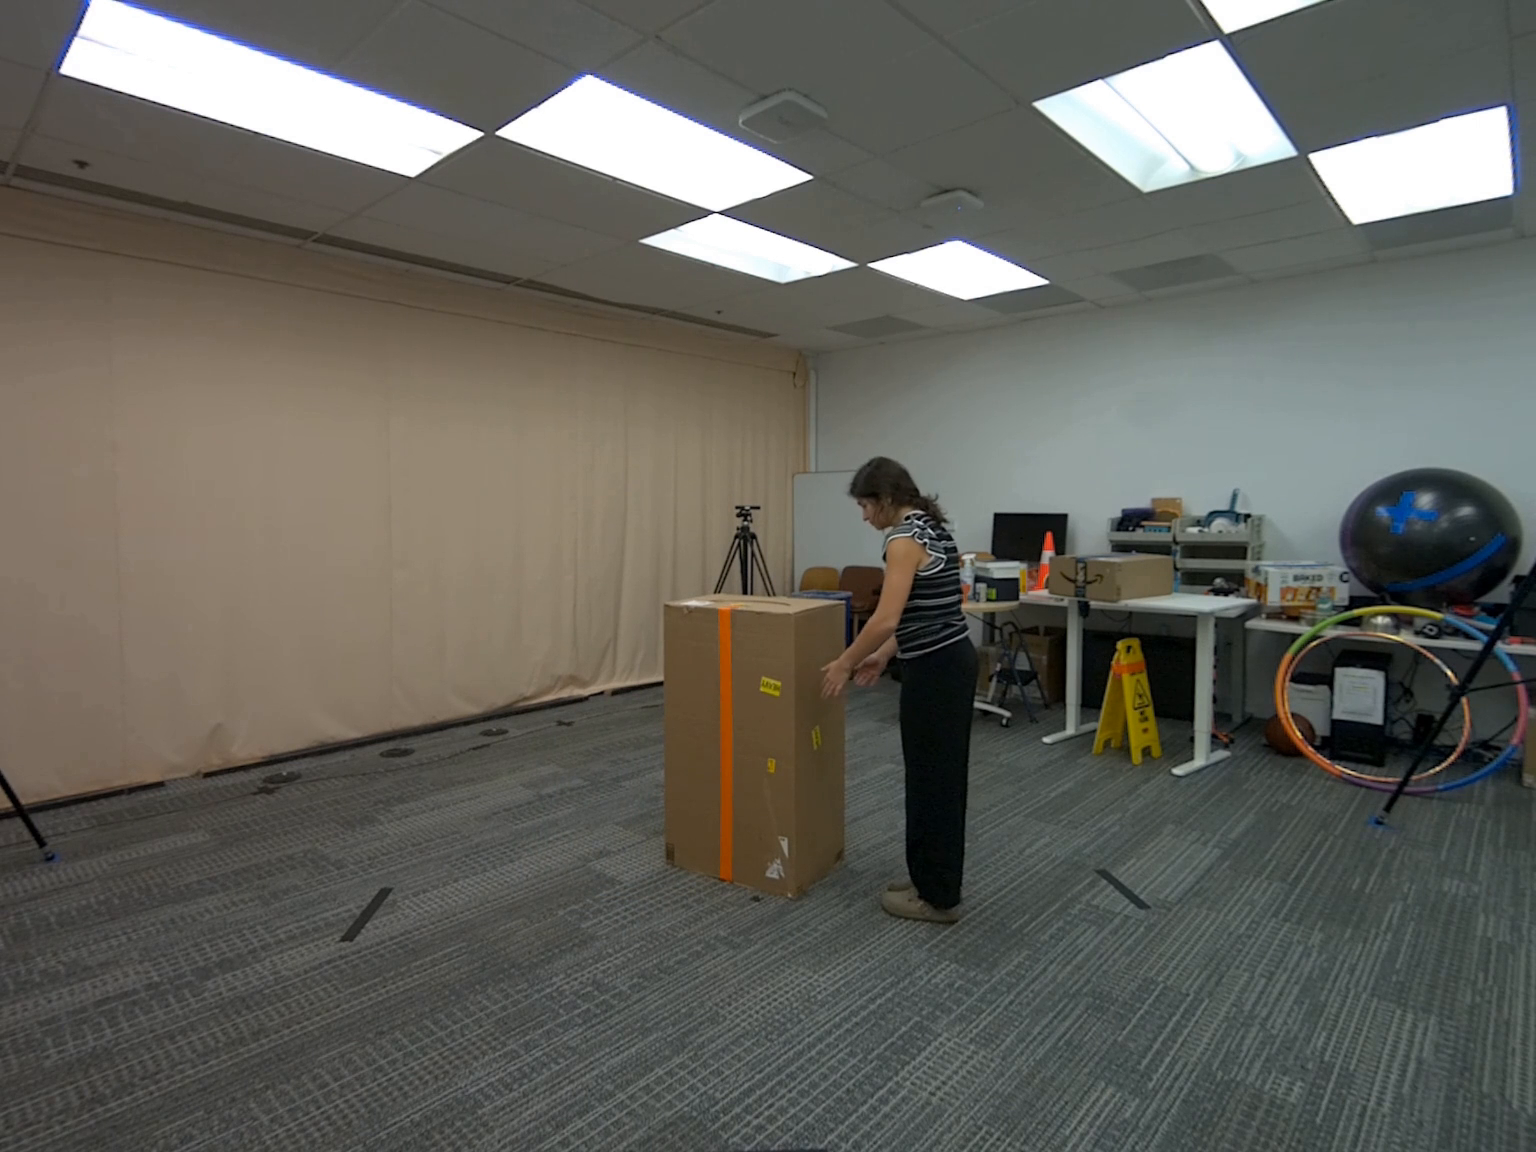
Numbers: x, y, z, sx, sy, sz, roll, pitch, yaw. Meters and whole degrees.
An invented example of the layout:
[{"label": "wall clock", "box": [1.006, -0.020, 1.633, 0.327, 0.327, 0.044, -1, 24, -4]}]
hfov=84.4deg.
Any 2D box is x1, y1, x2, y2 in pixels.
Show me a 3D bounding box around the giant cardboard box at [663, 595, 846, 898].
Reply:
[{"label": "giant cardboard box", "box": [-0.050, 0.612, 3.277, 0.595, 1.024, 0.414, 2, 4, 32]}]
